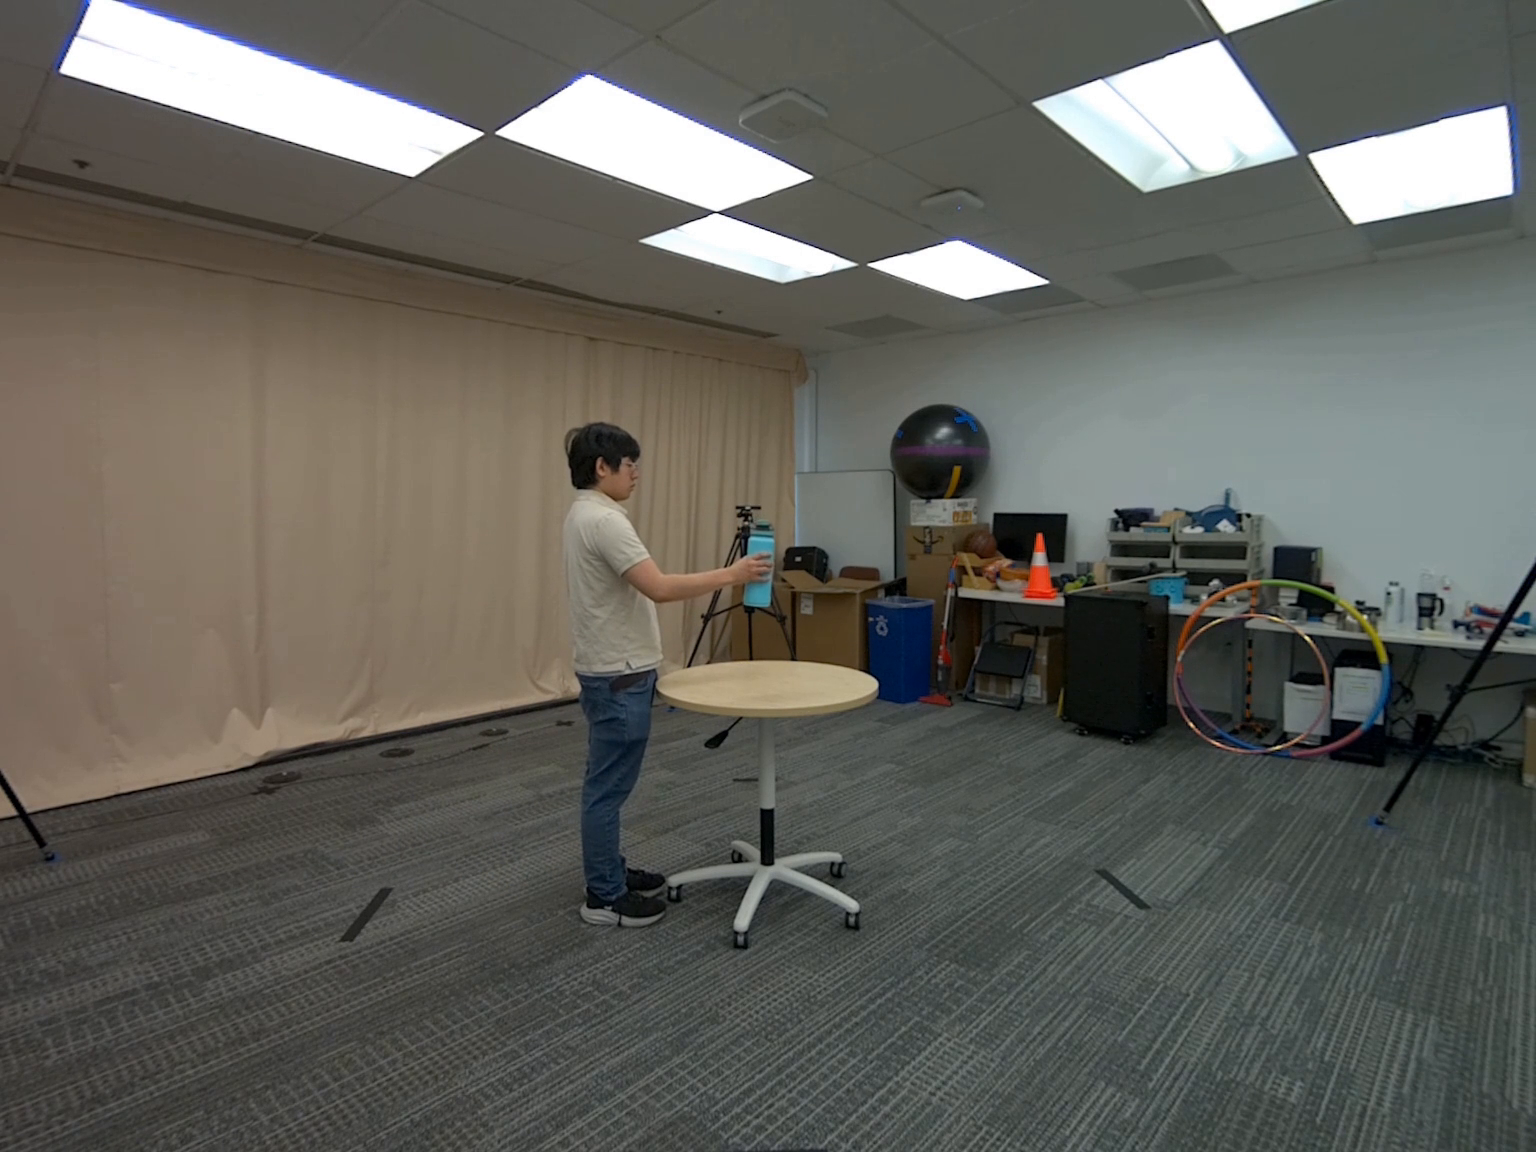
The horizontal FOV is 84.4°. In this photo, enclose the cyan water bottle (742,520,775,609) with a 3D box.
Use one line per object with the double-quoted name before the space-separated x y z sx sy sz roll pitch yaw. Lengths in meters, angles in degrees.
"cyan water bottle" -0.024 -0.045 2.789 0.092 0.283 0.092 3 1 -2
